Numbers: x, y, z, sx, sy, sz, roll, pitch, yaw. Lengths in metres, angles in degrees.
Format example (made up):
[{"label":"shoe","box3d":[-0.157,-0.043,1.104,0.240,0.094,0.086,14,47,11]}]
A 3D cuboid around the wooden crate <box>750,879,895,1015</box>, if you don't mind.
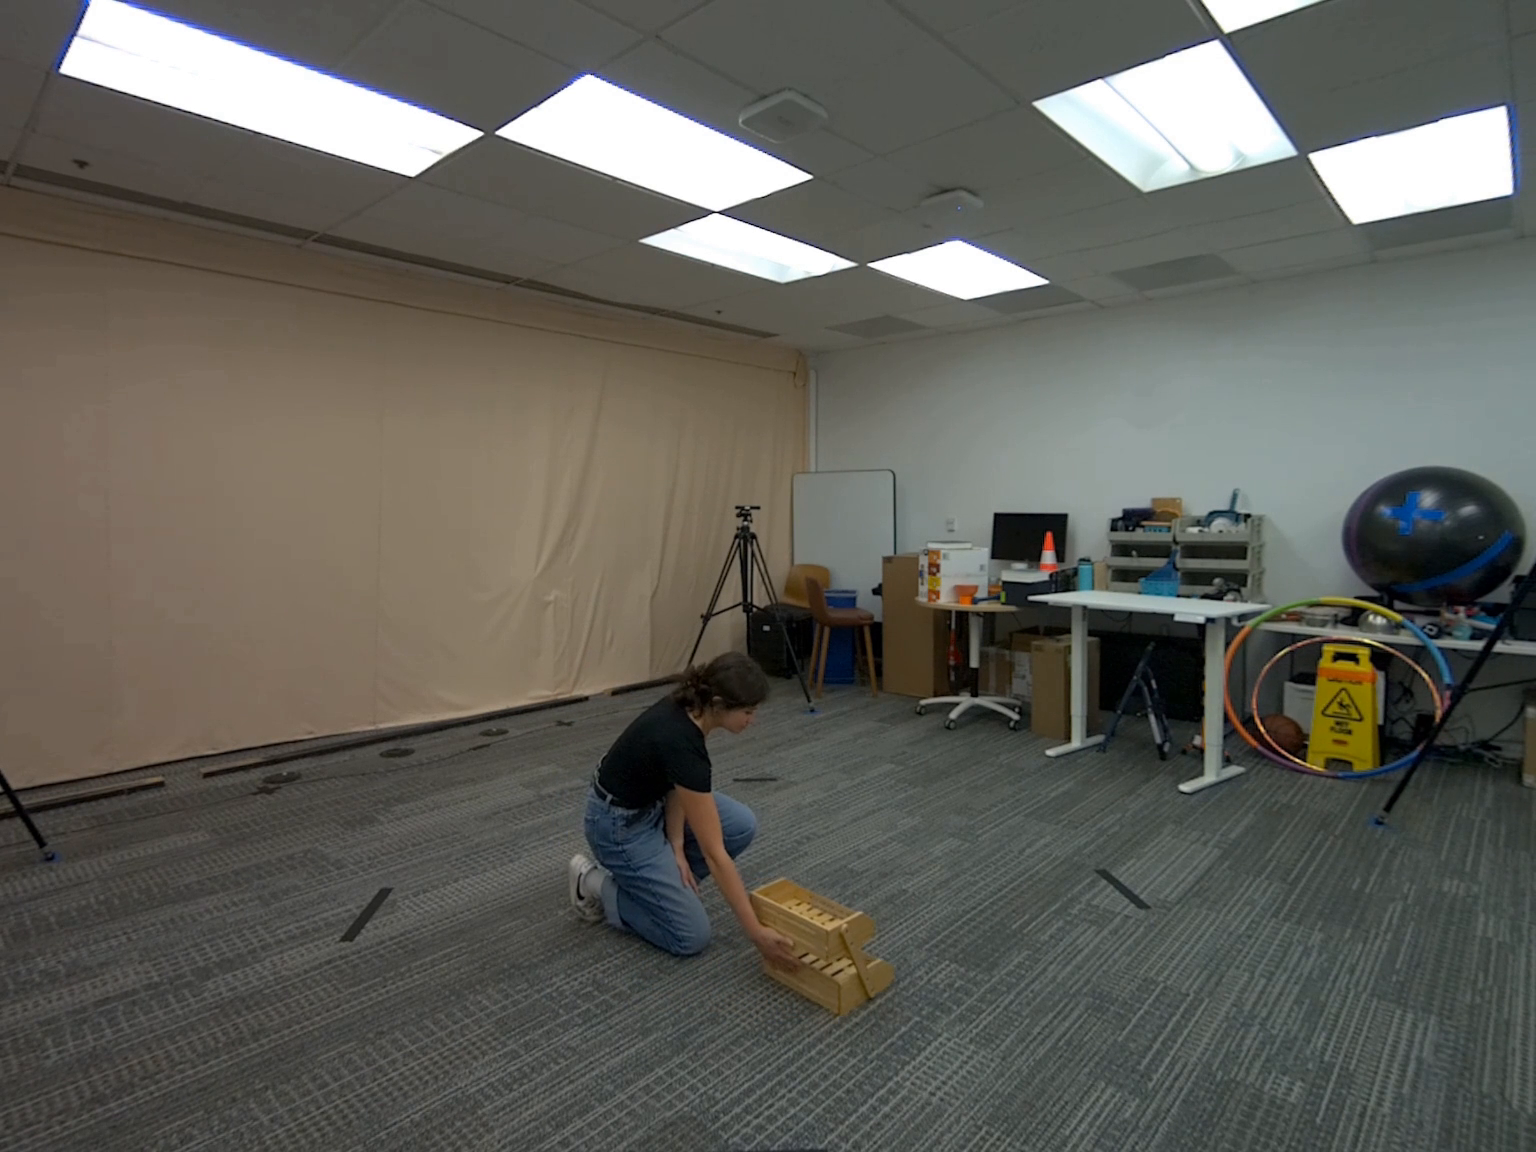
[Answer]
[{"label":"wooden crate","box3d":[0.162,1.054,2.459,0.293,0.273,0.335,-4,6,-45]}]
